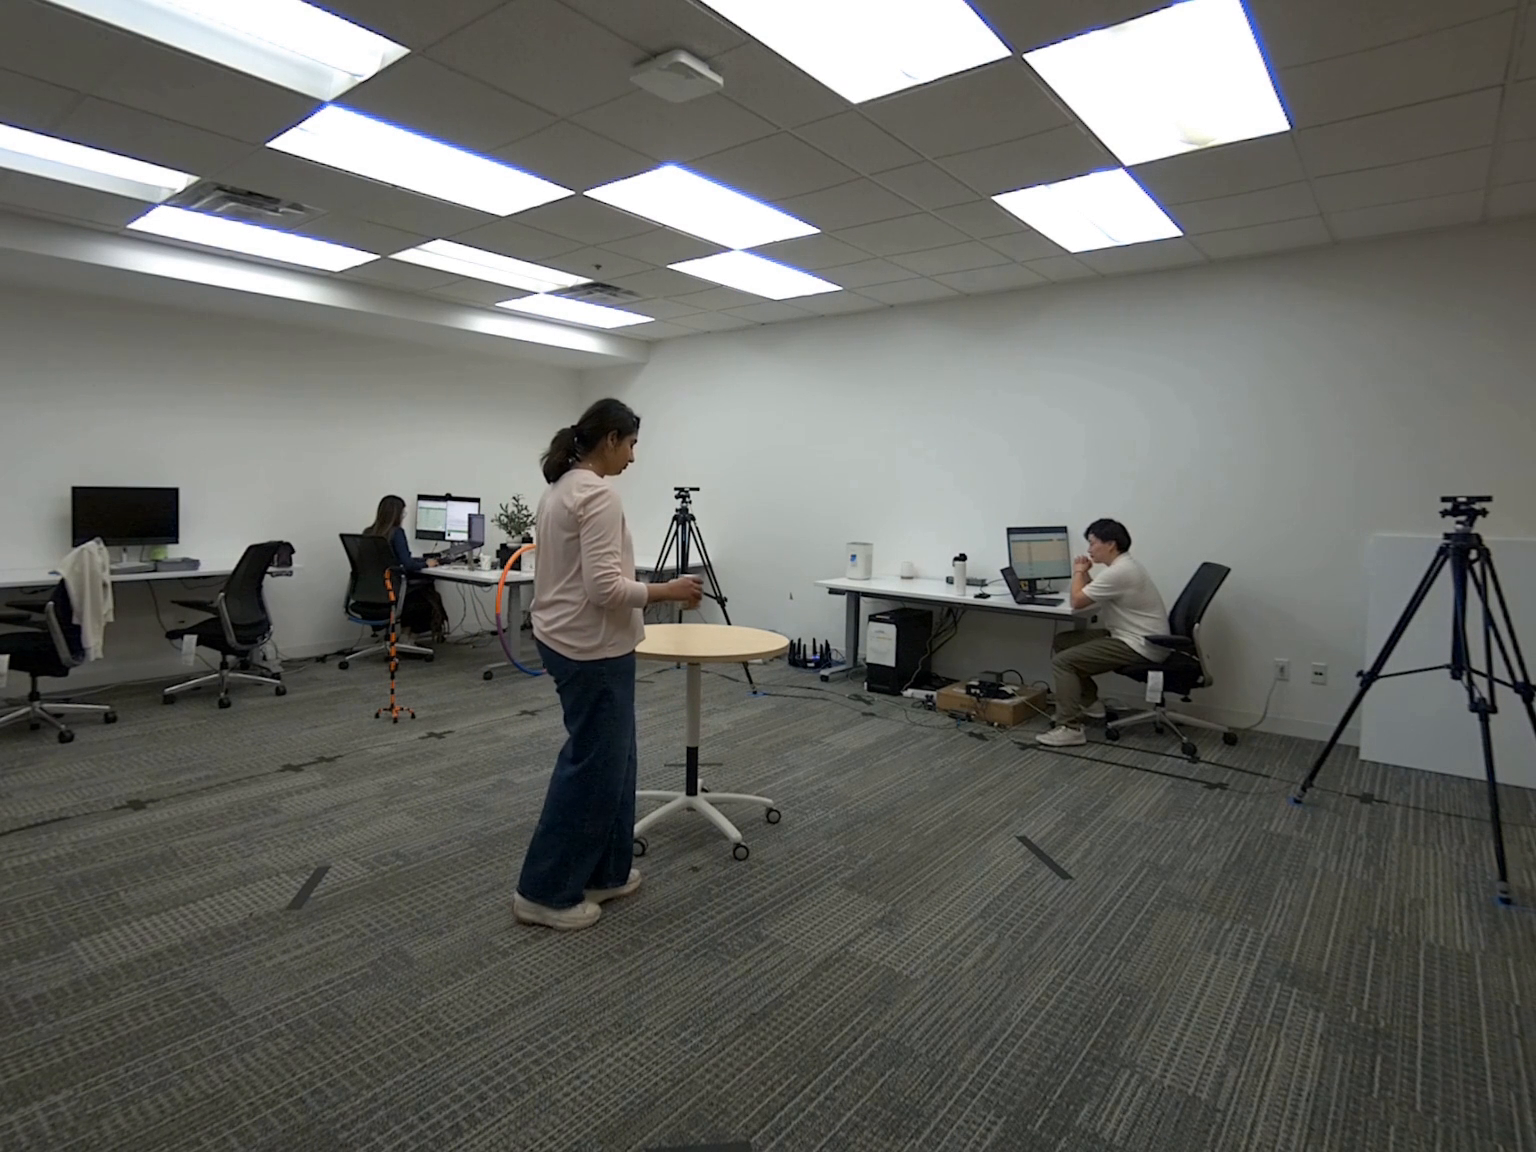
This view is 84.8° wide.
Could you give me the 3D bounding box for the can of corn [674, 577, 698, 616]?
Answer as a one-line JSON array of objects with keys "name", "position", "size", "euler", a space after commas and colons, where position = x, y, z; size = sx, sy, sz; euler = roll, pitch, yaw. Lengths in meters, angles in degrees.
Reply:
[{"name": "can of corn", "position": [-0.270, 0.066, 2.780], "size": [0.074, 0.110, 0.075], "euler": [2, 9, -2]}]
